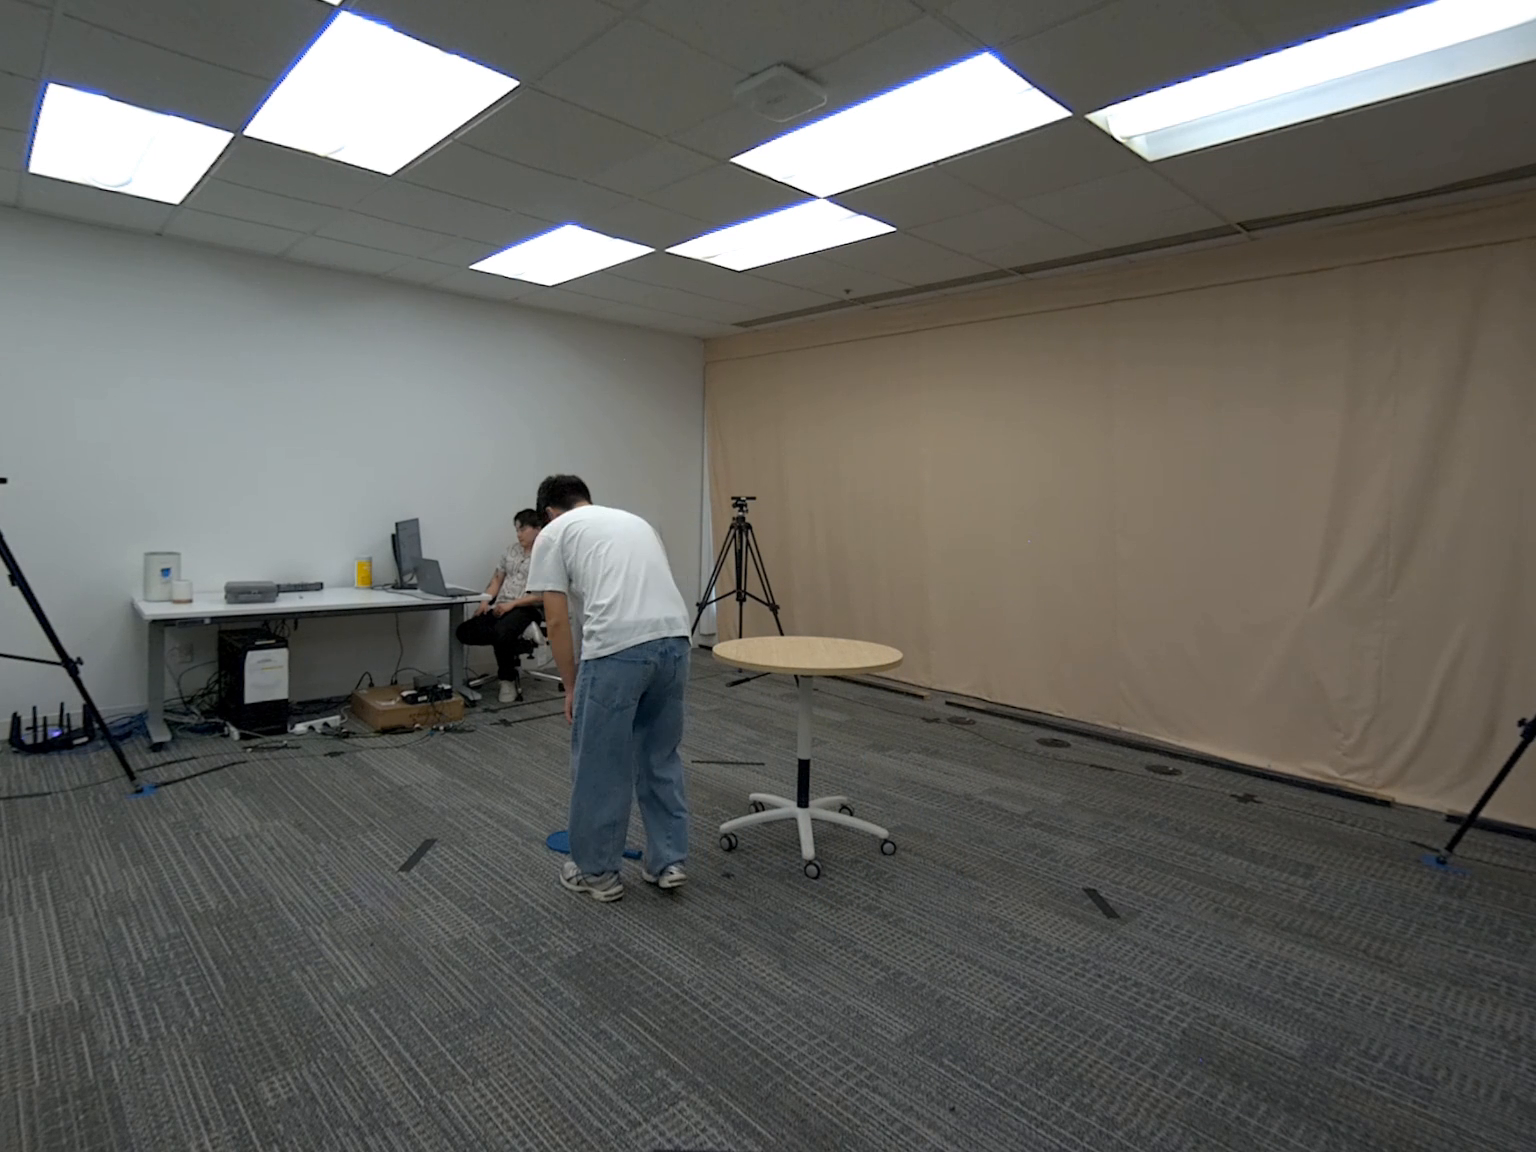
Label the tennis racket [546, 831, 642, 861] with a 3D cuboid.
[{"bbox_3d":[-0.690,1.062,3.319,0.442,0.031,0.210,2,6,28],"label":"tennis racket"}]
